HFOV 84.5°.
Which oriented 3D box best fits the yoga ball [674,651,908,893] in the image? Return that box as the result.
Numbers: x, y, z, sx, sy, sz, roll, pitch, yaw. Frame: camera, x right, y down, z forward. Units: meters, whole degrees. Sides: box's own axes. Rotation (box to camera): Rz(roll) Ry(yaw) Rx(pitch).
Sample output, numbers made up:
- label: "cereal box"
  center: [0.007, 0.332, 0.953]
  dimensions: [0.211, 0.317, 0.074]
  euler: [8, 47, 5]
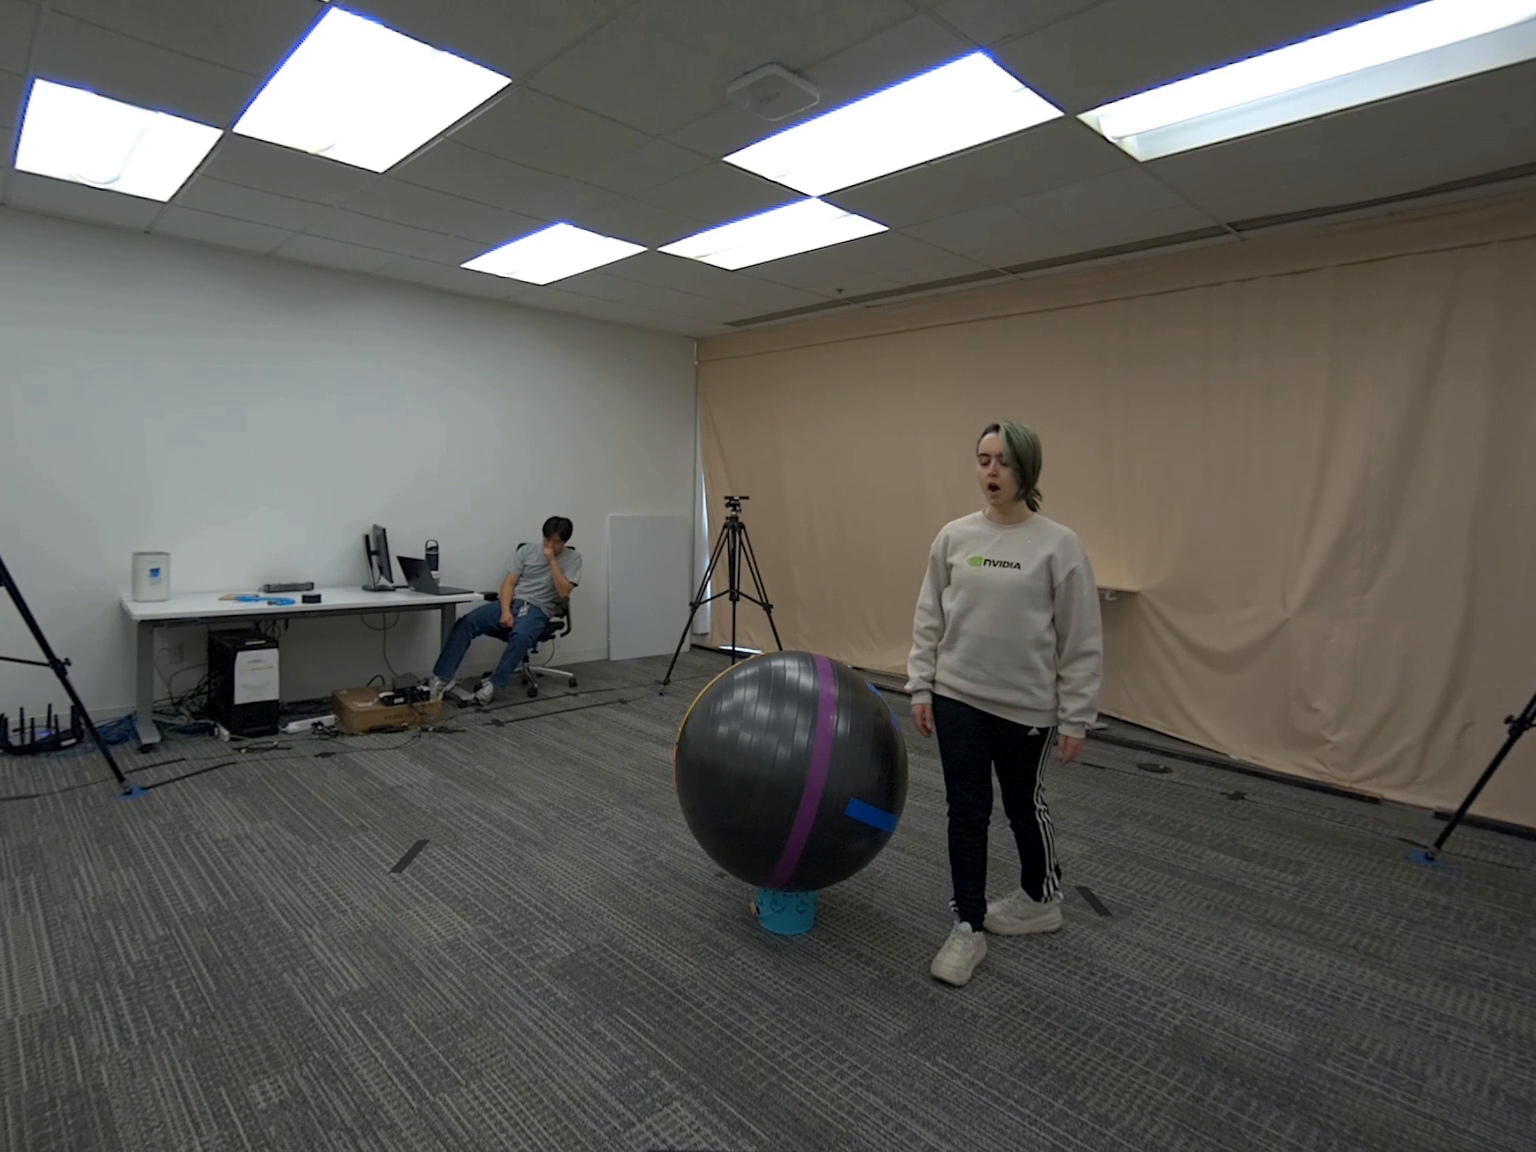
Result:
- label: "yoga ball"
  center: [0.064, 0.630, 2.751]
  dimensions: [0.757, 0.756, 0.761]
  euler: [1, 4, -1]
